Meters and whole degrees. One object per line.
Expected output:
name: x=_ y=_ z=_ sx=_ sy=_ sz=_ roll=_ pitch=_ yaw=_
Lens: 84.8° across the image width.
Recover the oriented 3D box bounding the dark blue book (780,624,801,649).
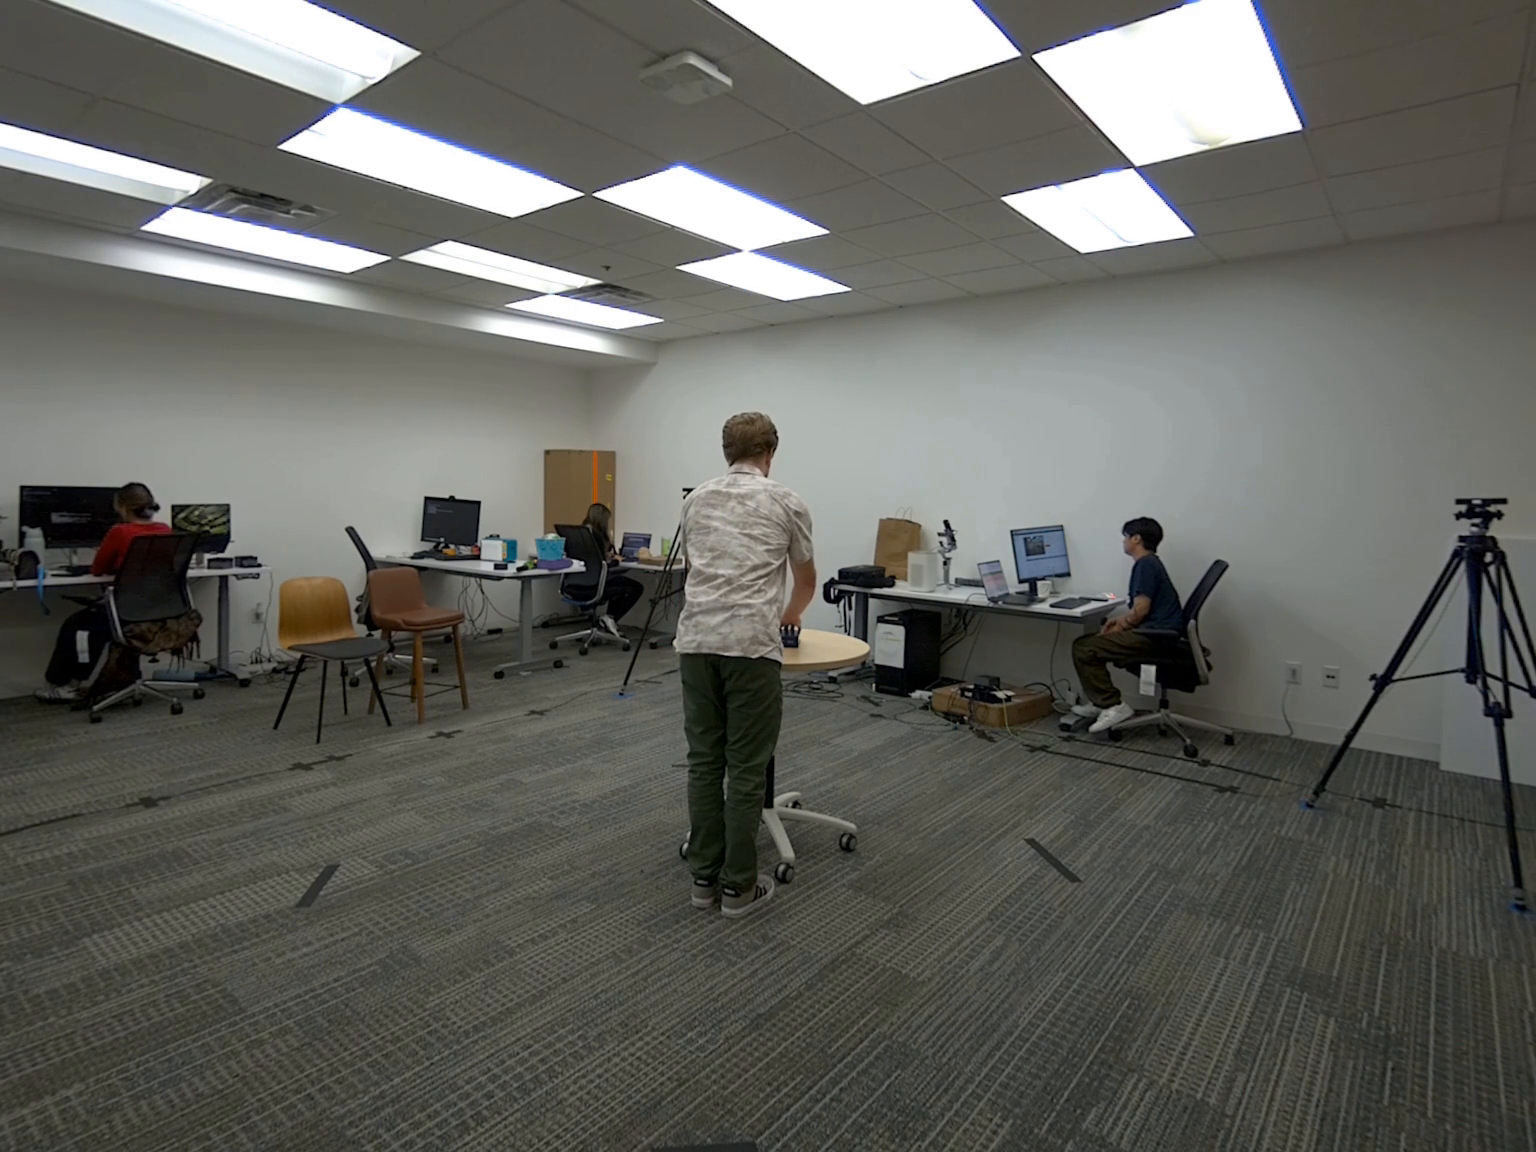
dark blue book: x=0.002 y=0.237 z=3.339 sx=0.247 sy=0.045 sz=0.163 roll=1 pitch=6 yaw=7
